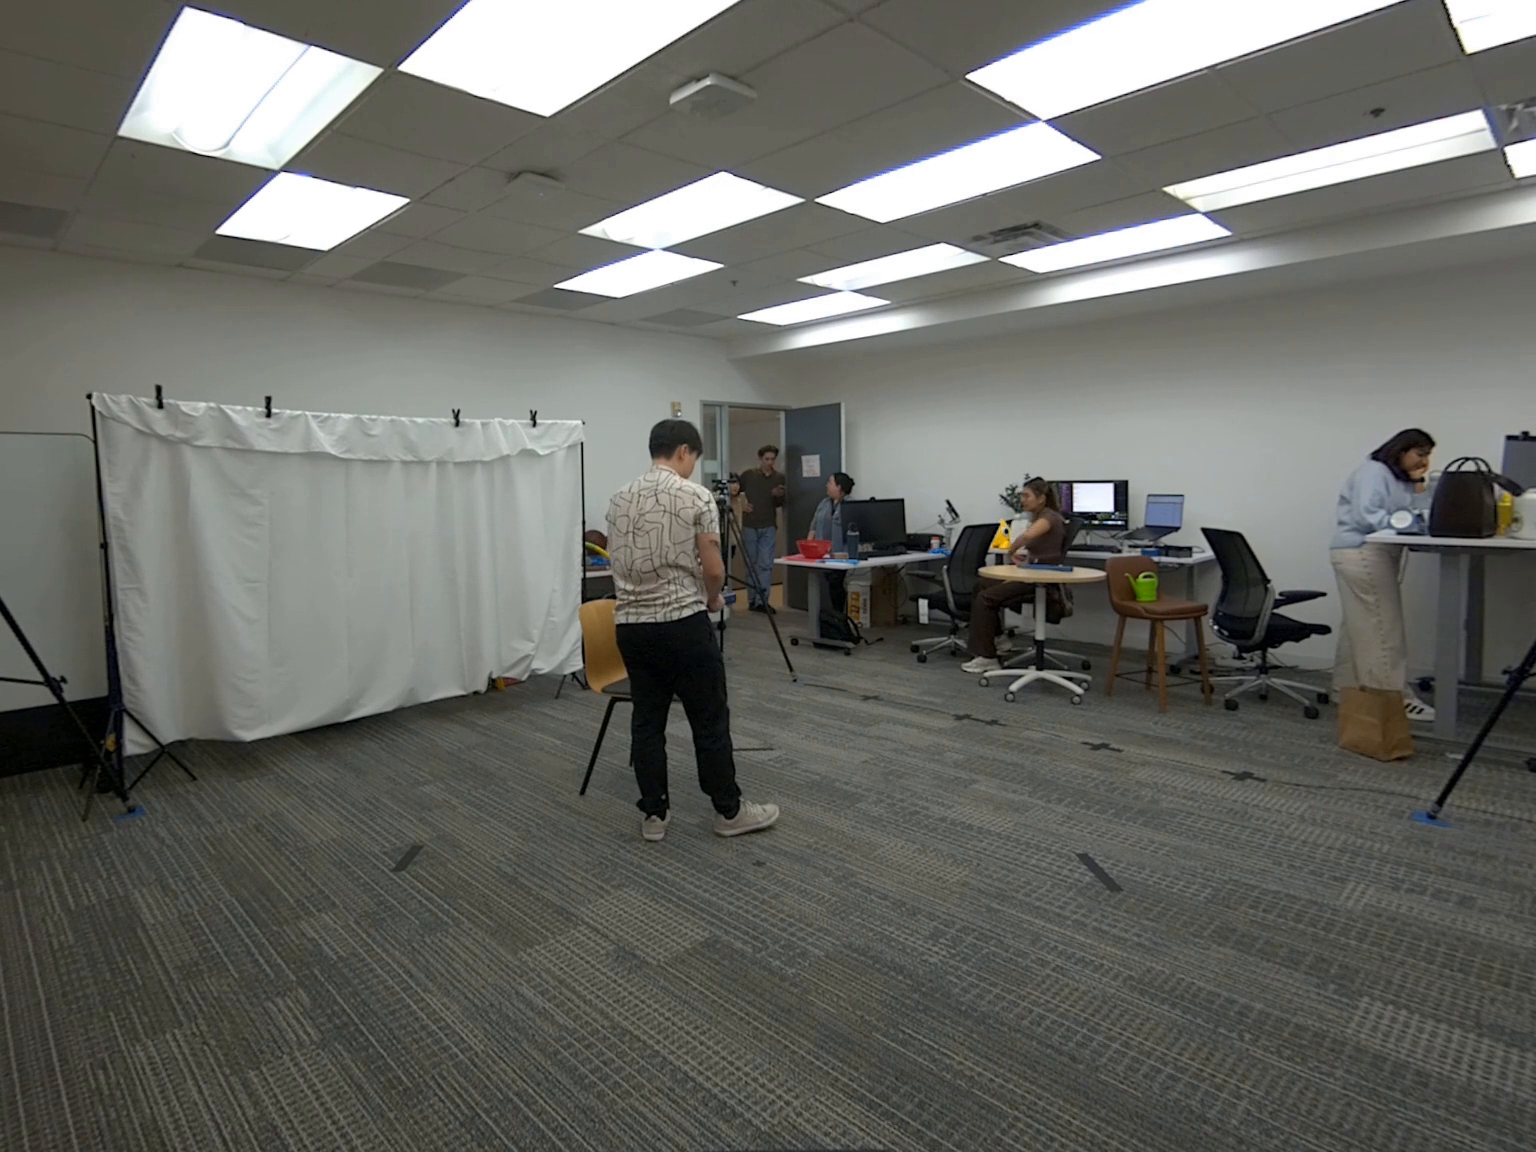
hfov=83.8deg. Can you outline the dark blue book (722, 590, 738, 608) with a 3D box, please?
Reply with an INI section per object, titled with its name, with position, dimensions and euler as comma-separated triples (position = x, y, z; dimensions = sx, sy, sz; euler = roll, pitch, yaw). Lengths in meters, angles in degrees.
[dark blue book]
position = -0.258, 0.104, 3.605
dimensions = 0.168, 0.045, 0.240
euler = 7, 11, 31
